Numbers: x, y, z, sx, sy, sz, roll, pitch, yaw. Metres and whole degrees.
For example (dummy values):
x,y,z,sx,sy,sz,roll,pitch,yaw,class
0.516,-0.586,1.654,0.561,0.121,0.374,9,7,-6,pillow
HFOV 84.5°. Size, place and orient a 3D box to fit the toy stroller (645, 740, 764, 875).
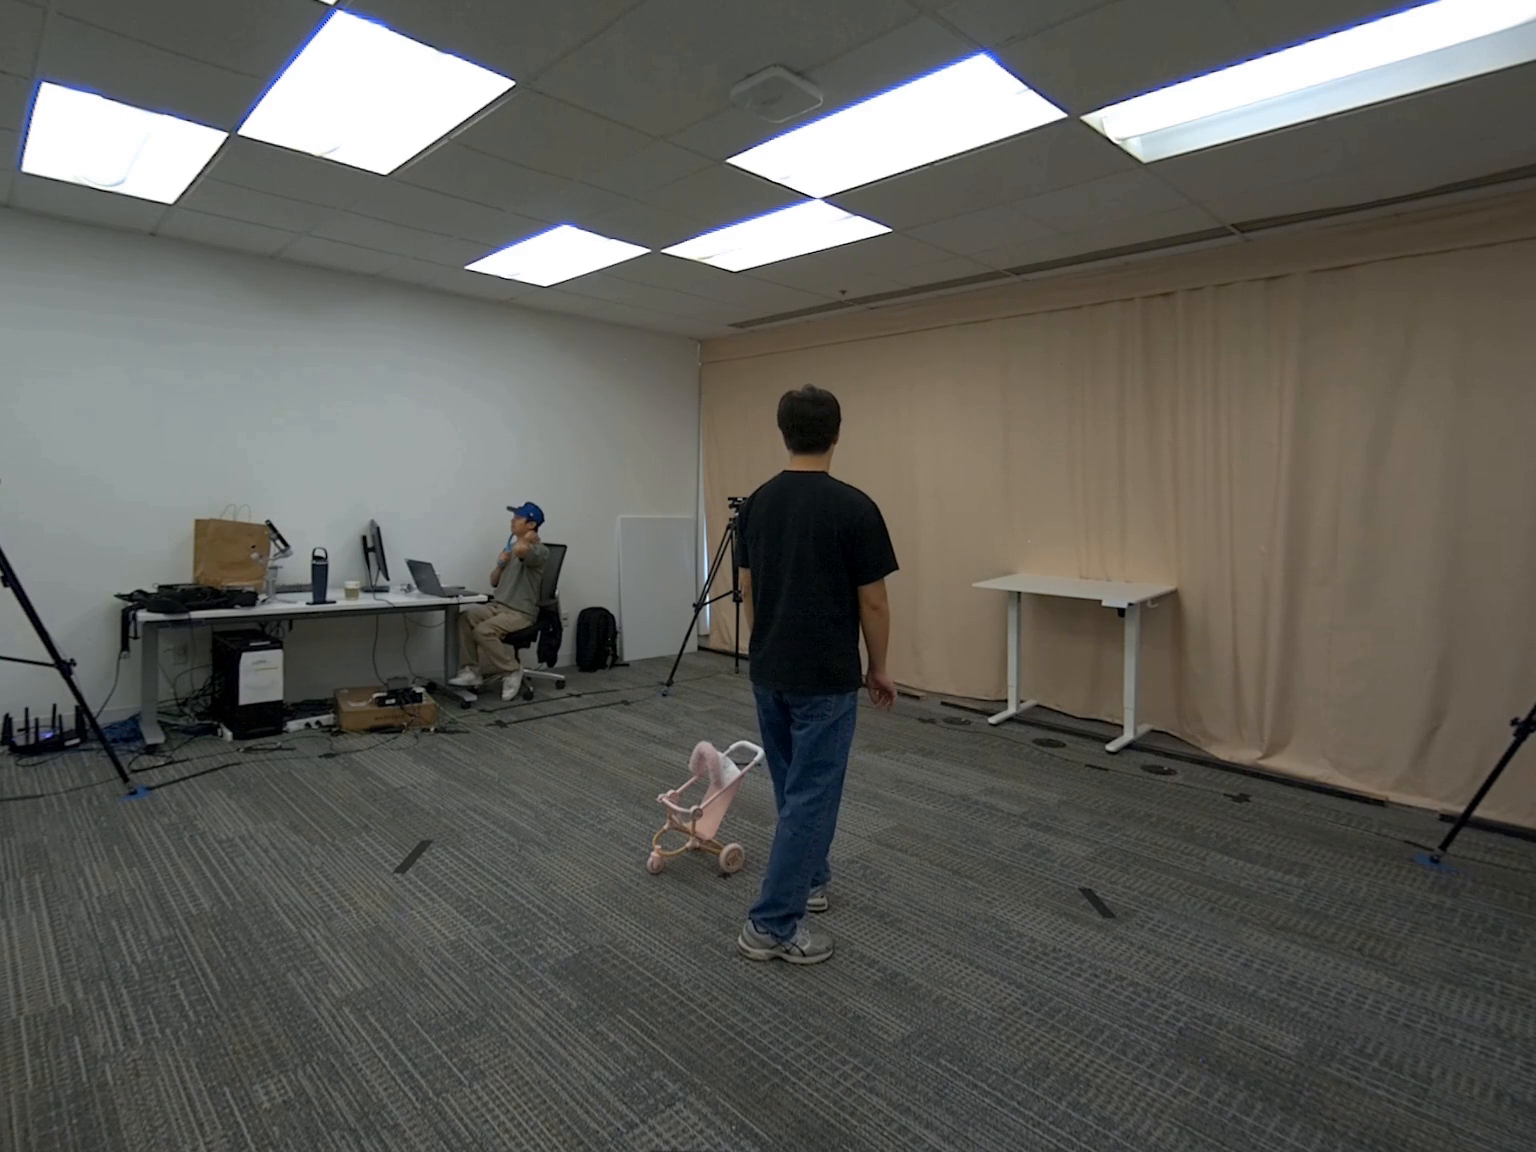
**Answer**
x,y,z,sx,sy,sz,roll,pitch,yaw,class
-0.261,0.872,3.199,0.333,0.536,0.287,17,-4,-27,toy stroller
